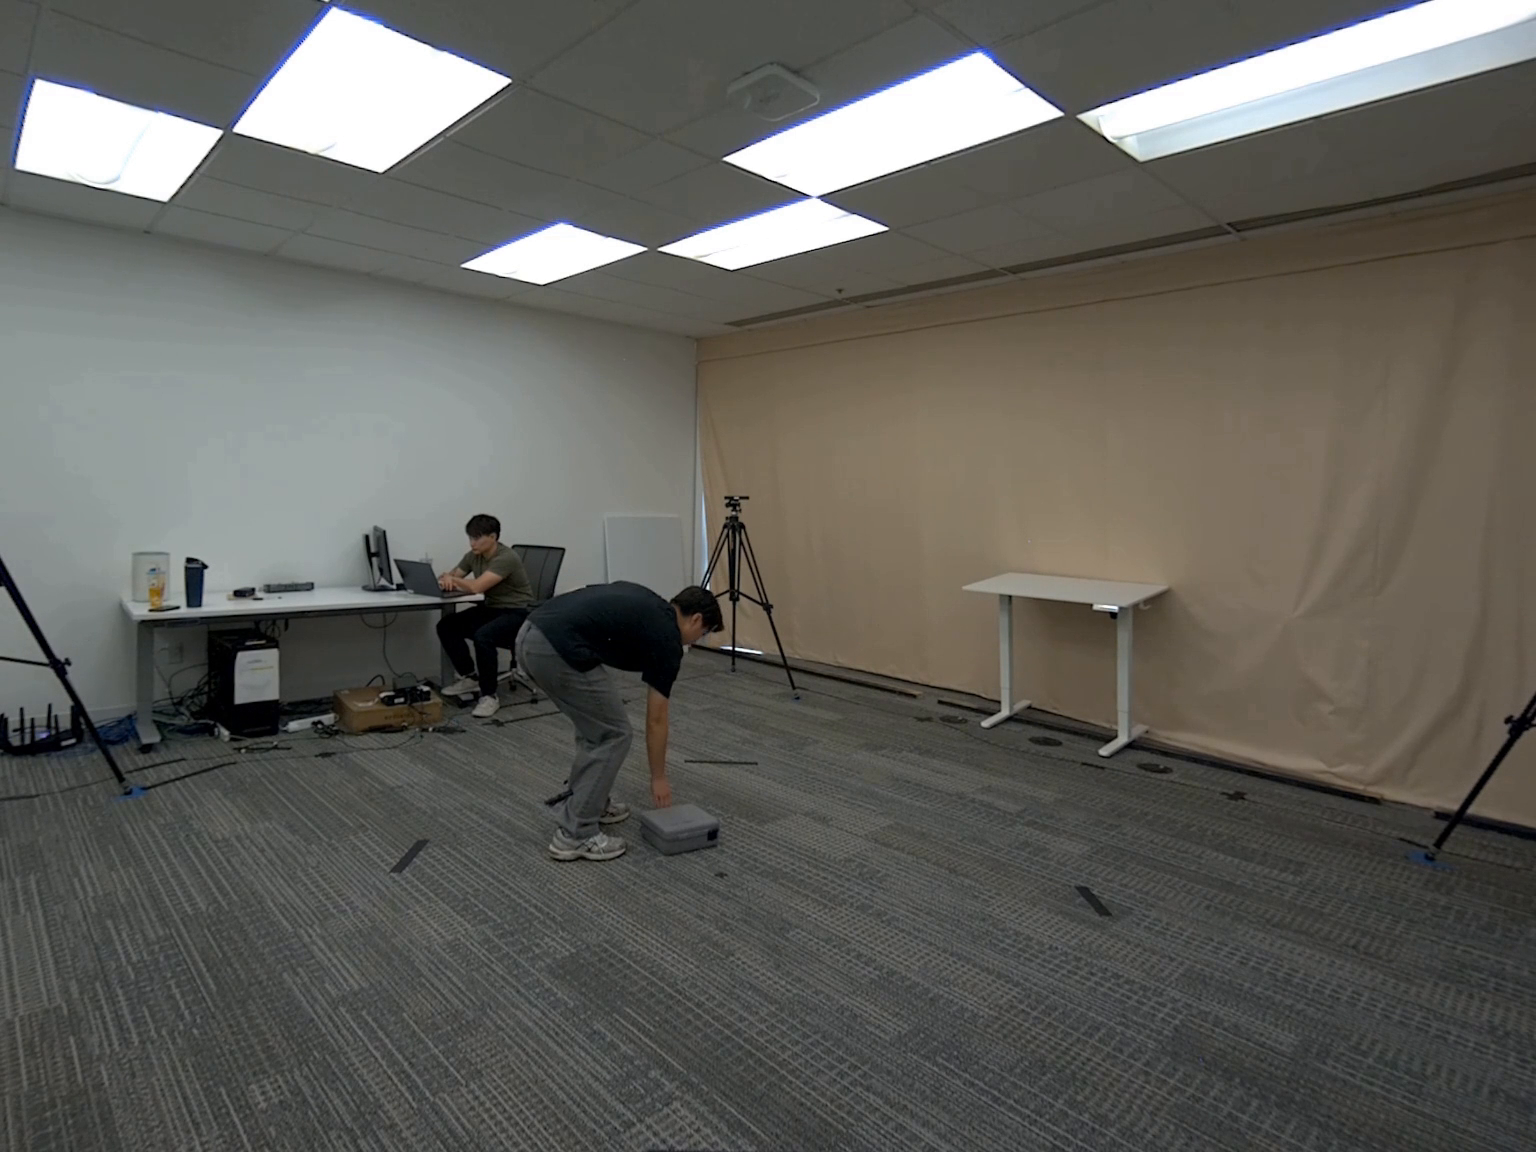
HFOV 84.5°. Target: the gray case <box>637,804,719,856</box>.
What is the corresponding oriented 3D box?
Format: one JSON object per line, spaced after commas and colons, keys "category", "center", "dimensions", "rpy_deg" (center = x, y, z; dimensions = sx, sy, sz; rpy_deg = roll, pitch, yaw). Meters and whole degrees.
{"category": "gray case", "center": [-0.373, 1.017, 3.409], "dimensions": [0.258, 0.103, 0.293], "rpy_deg": [-1, 4, -30]}
